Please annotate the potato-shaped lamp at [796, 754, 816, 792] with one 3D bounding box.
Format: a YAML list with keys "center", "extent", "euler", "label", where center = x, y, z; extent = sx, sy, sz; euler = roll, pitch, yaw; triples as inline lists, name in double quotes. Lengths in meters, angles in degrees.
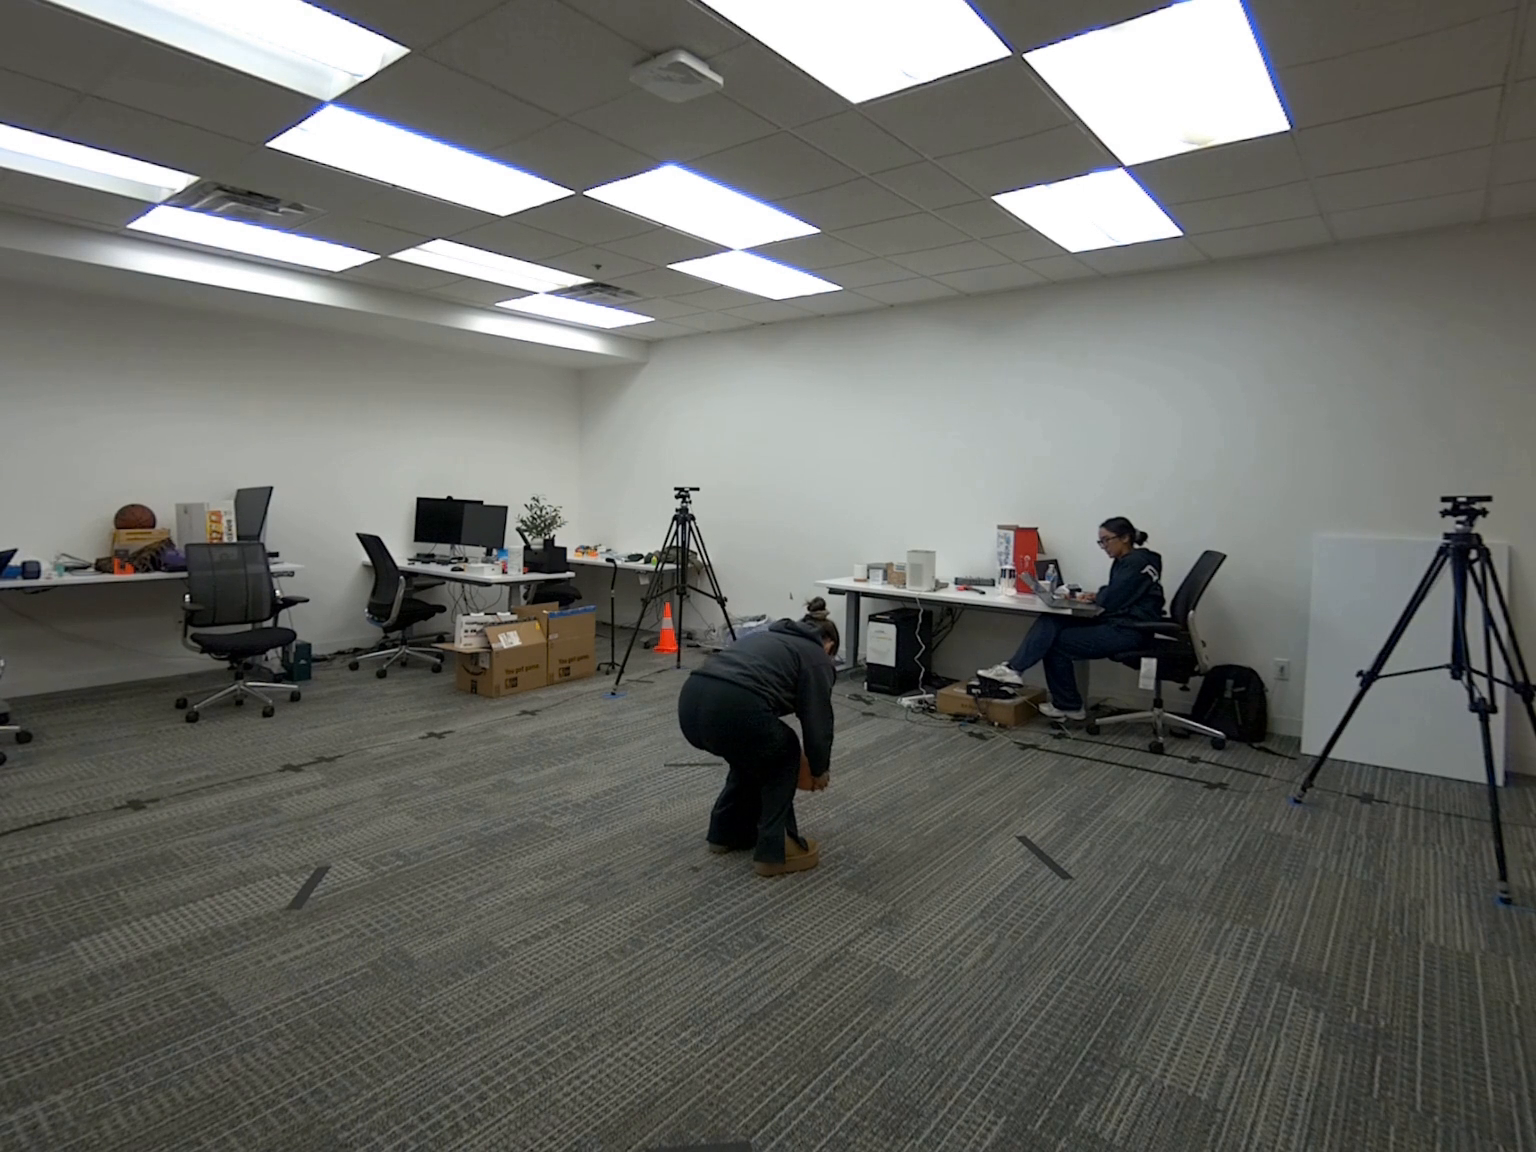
- center: [0.160, 0.760, 3.444]
  extent: [0.170, 0.197, 0.166]
  euler: [8, 6, 40]
  label: "potato-shaped lamp"
